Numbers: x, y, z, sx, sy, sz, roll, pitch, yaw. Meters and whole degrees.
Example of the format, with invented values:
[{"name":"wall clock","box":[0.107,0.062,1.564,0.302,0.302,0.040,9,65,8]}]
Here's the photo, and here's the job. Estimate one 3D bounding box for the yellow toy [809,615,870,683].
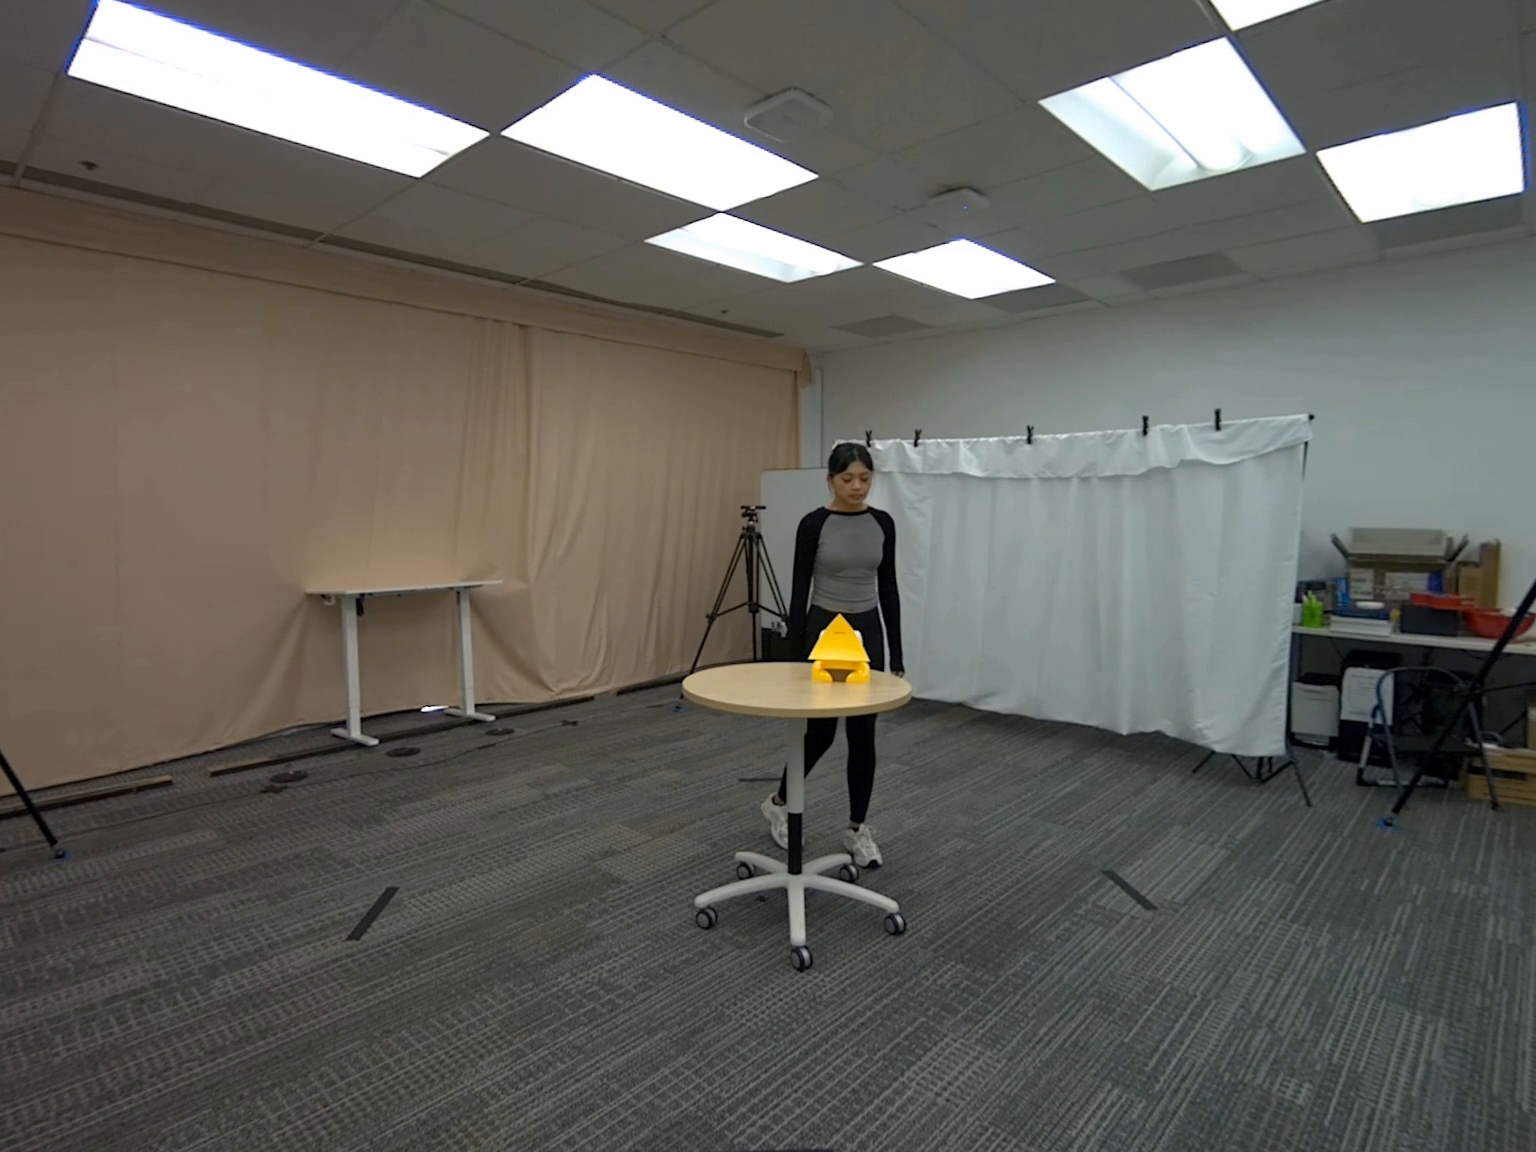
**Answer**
[{"name":"yellow toy","box":[0.248,0.239,2.924,0.207,0.230,0.191,0,5,12]}]
